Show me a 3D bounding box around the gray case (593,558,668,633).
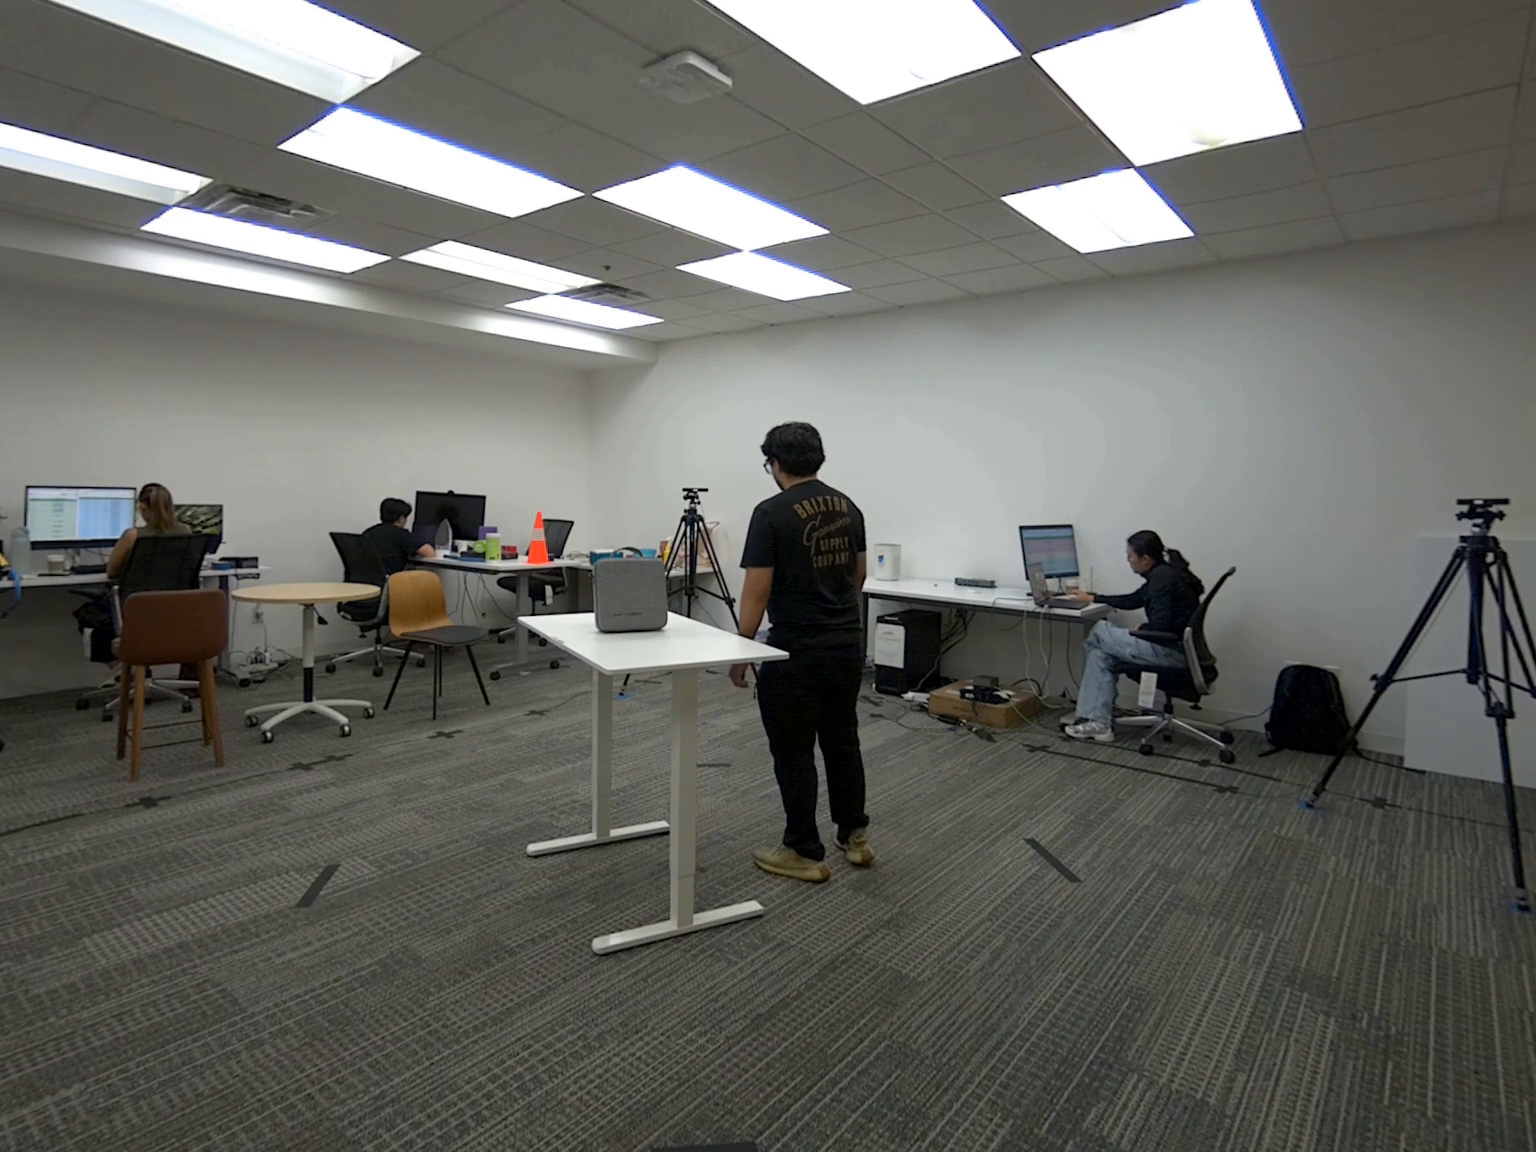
[{"bbox_3d":[-0.503,0.055,3.021,0.252,0.262,0.106,-2,-4,-19],"label":"gray case"}]
